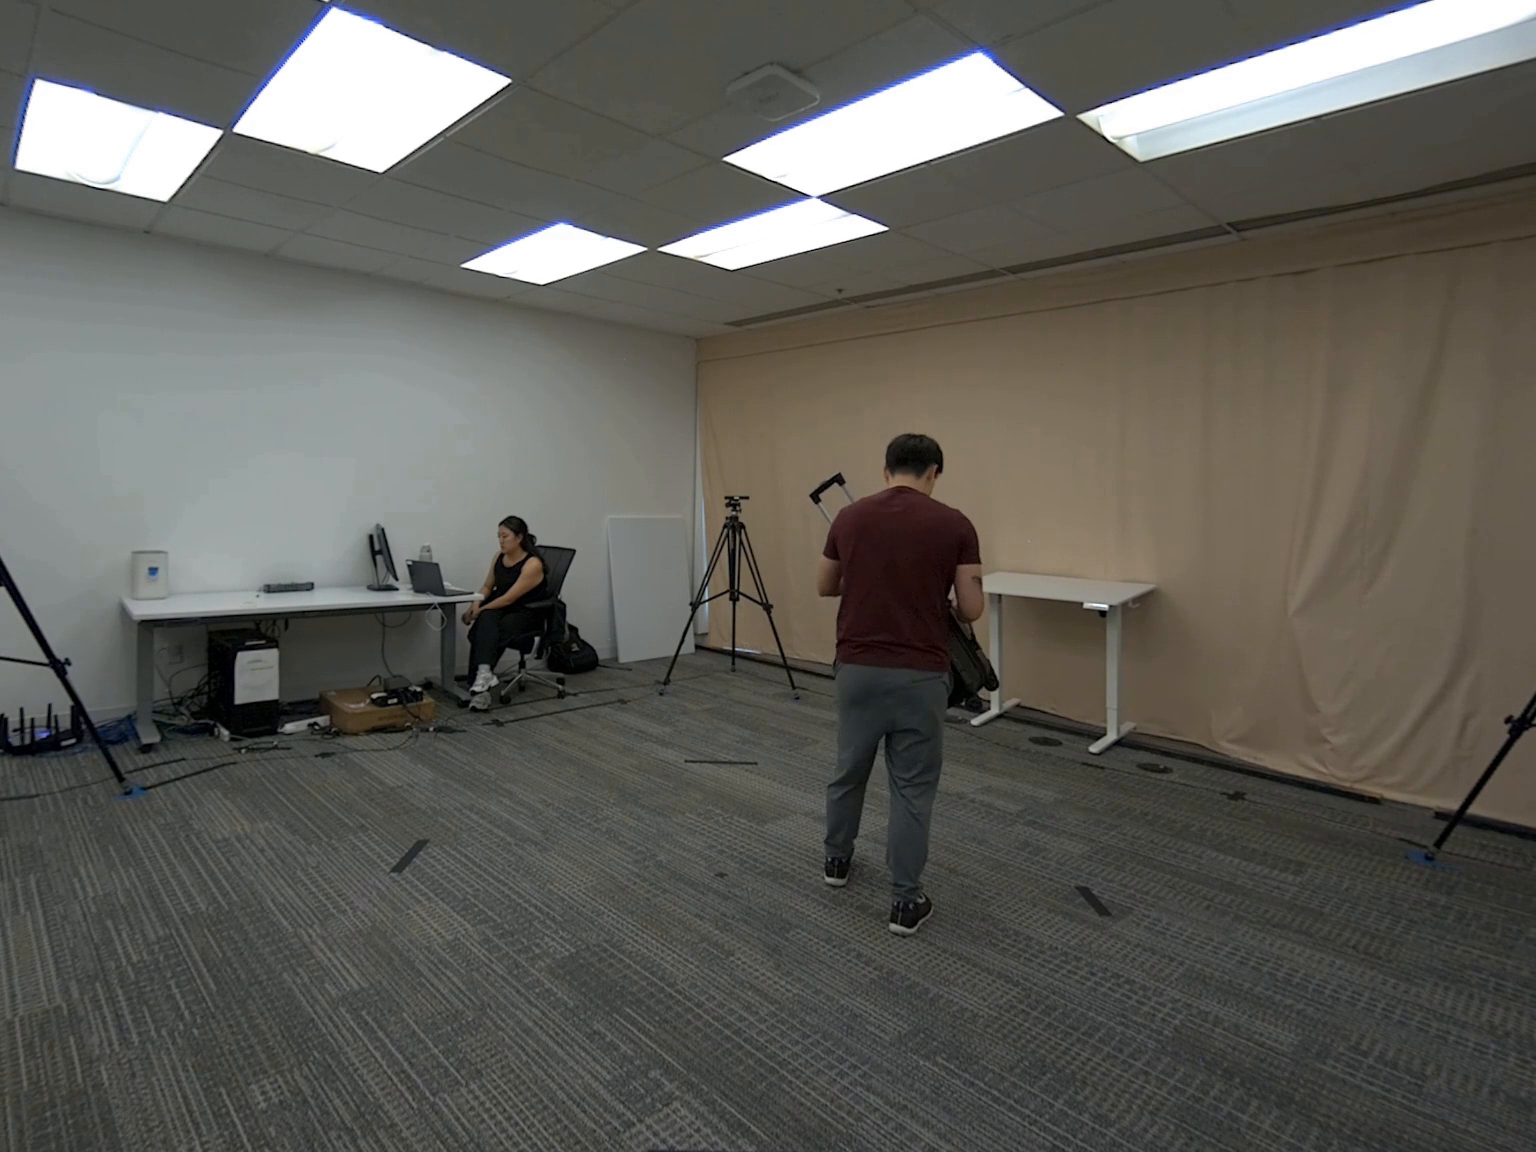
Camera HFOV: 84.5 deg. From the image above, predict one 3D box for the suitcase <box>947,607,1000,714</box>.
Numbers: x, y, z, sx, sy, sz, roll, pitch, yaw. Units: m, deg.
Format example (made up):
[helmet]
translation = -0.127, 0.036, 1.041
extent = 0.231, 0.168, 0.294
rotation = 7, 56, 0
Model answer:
[suitcase]
translation = 0.427, 0.088, 3.102
extent = 0.386, 0.986, 0.253
rotation = -35, -8, 33
